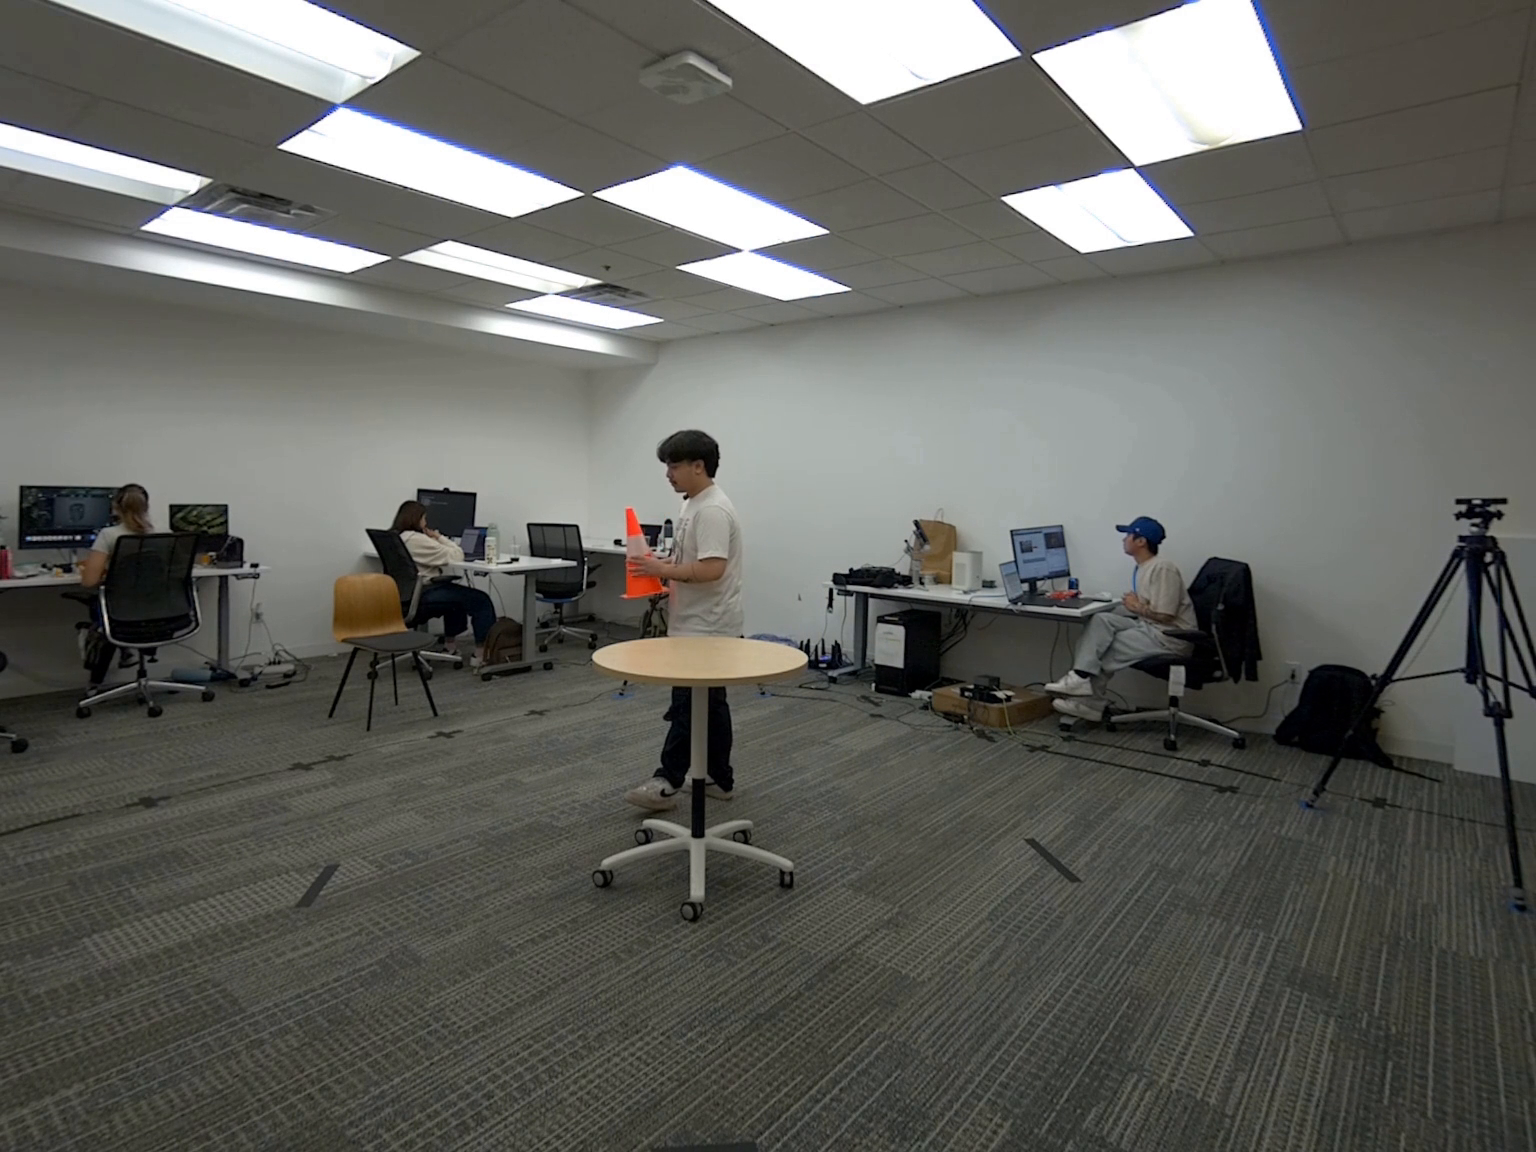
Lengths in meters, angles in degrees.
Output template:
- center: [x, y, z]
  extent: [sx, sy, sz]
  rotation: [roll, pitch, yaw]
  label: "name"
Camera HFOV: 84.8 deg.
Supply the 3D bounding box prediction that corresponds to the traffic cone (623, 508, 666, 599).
- center: [-0.596, -0.117, 3.748]
  extent: [0.206, 0.381, 0.204]
  rotation: [-11, 6, 13]
  label: "traffic cone"
